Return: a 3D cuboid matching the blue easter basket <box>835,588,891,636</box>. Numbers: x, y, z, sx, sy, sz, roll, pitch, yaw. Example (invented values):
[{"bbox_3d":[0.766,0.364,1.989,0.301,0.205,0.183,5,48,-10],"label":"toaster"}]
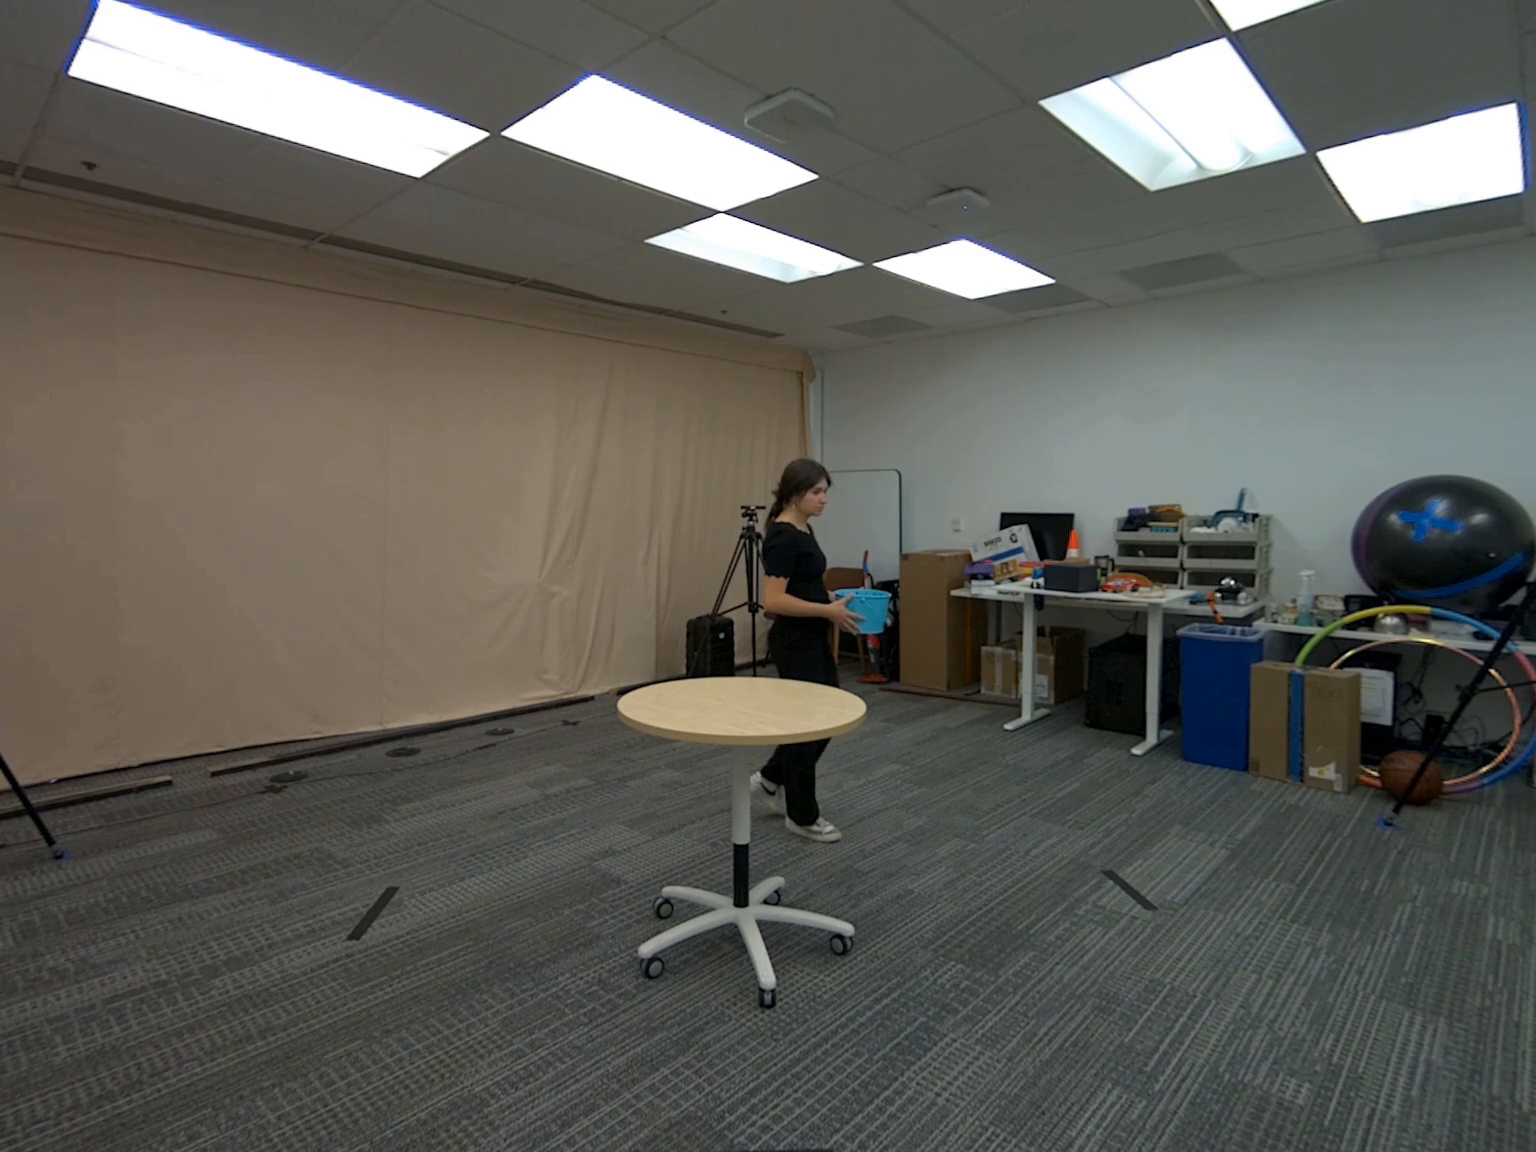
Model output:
[{"bbox_3d":[0.390,0.149,3.461,0.243,0.156,0.244,0,3,-2],"label":"blue easter basket"}]
